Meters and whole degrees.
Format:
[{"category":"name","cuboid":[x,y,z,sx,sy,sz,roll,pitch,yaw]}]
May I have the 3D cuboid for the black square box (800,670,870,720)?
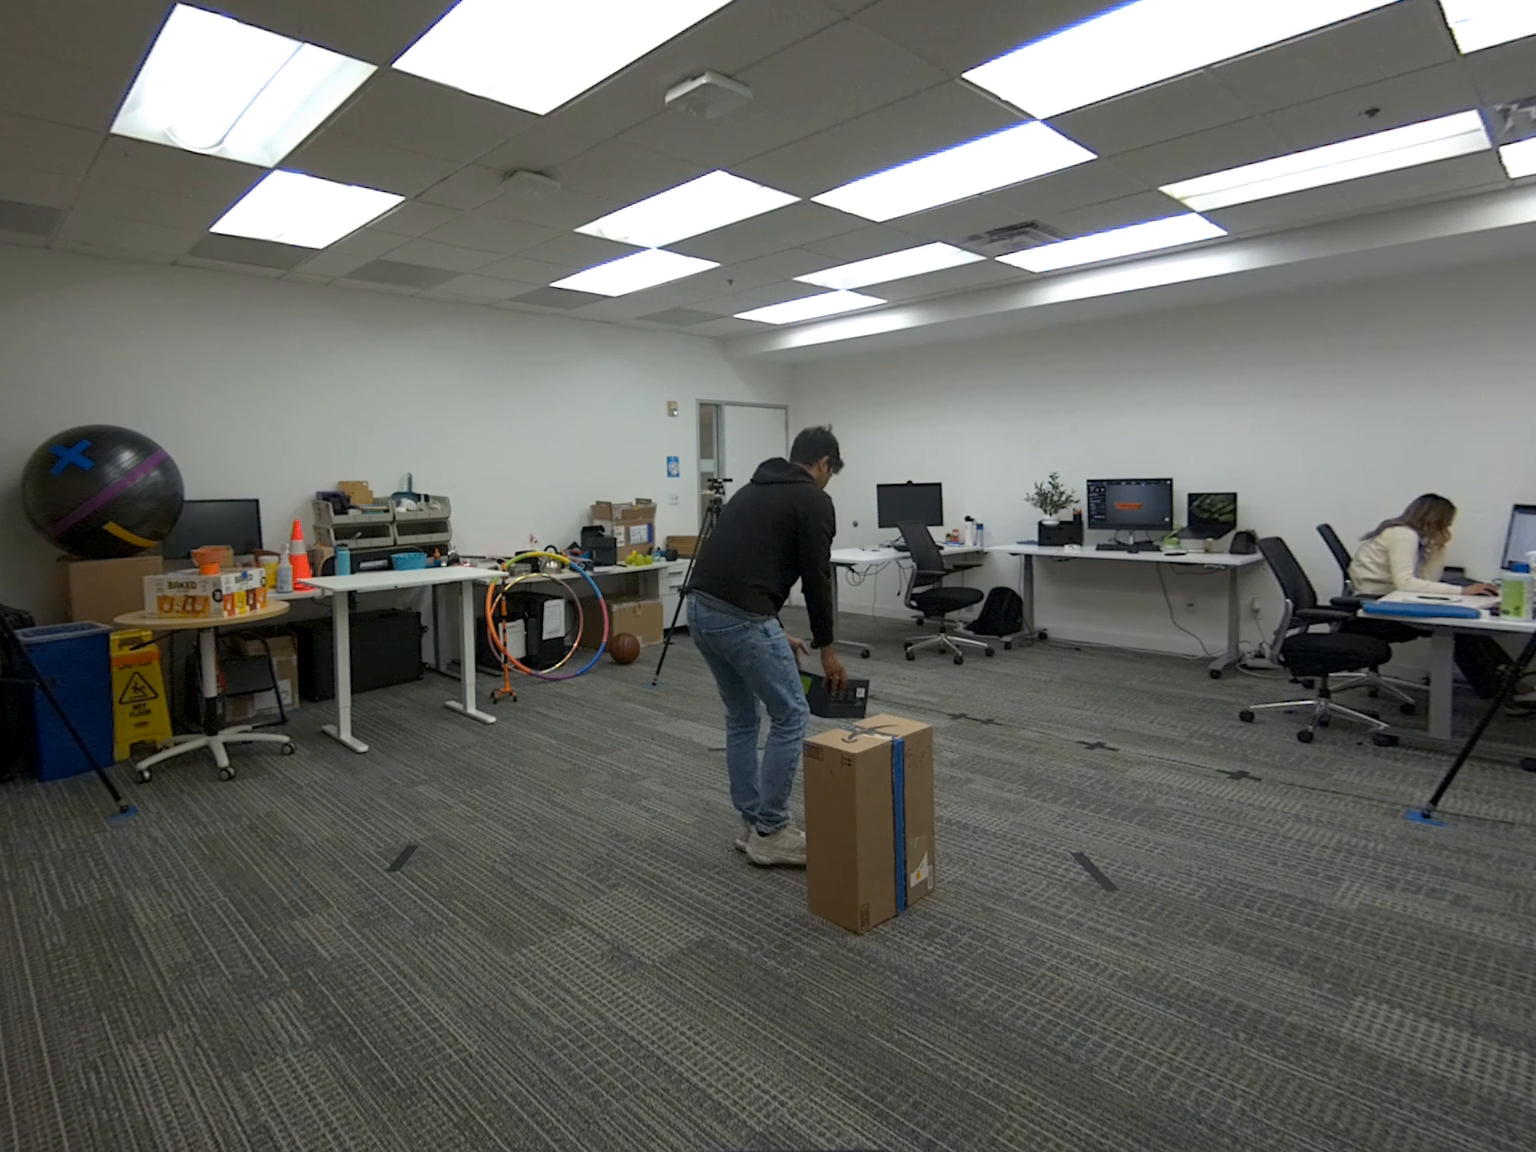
[{"category":"black square box","cuboid":[0.249,0.474,3.406,0.210,0.156,0.235,6,1,-35]}]
